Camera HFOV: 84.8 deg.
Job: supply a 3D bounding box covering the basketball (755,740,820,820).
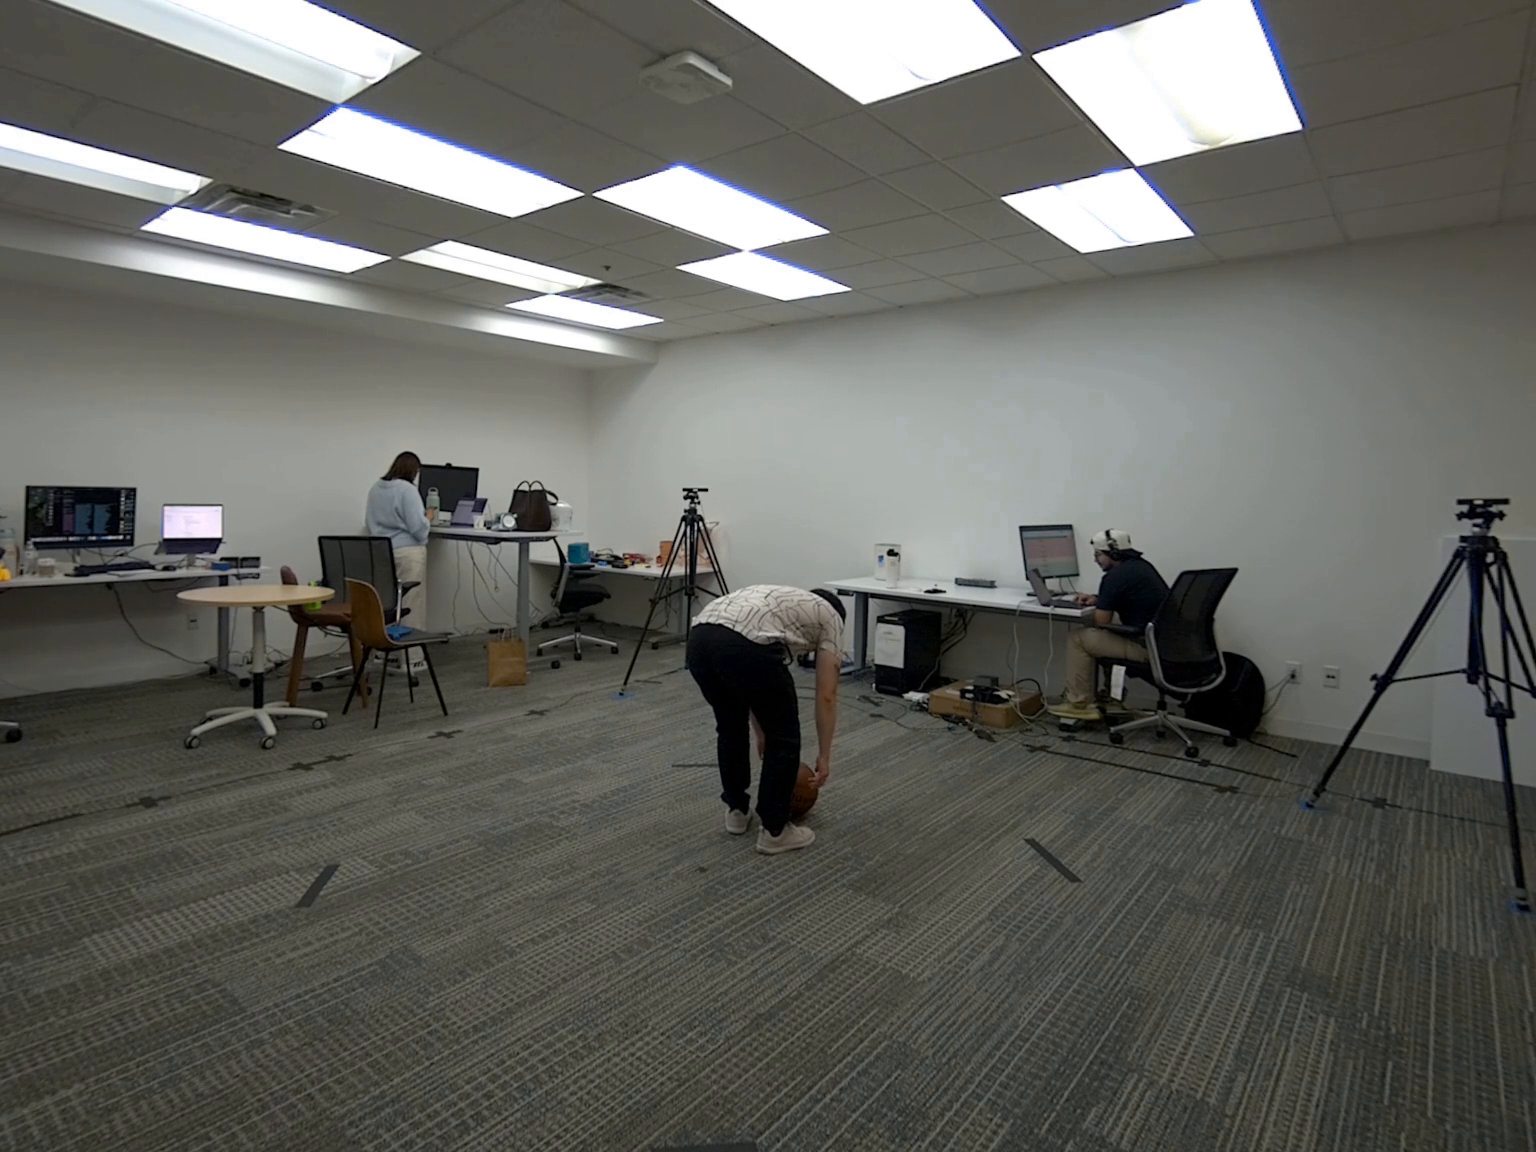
[{"bbox_3d":[0.092,0.899,3.635,0.235,0.235,0.237,1,4,-2],"label":"basketball"}]
